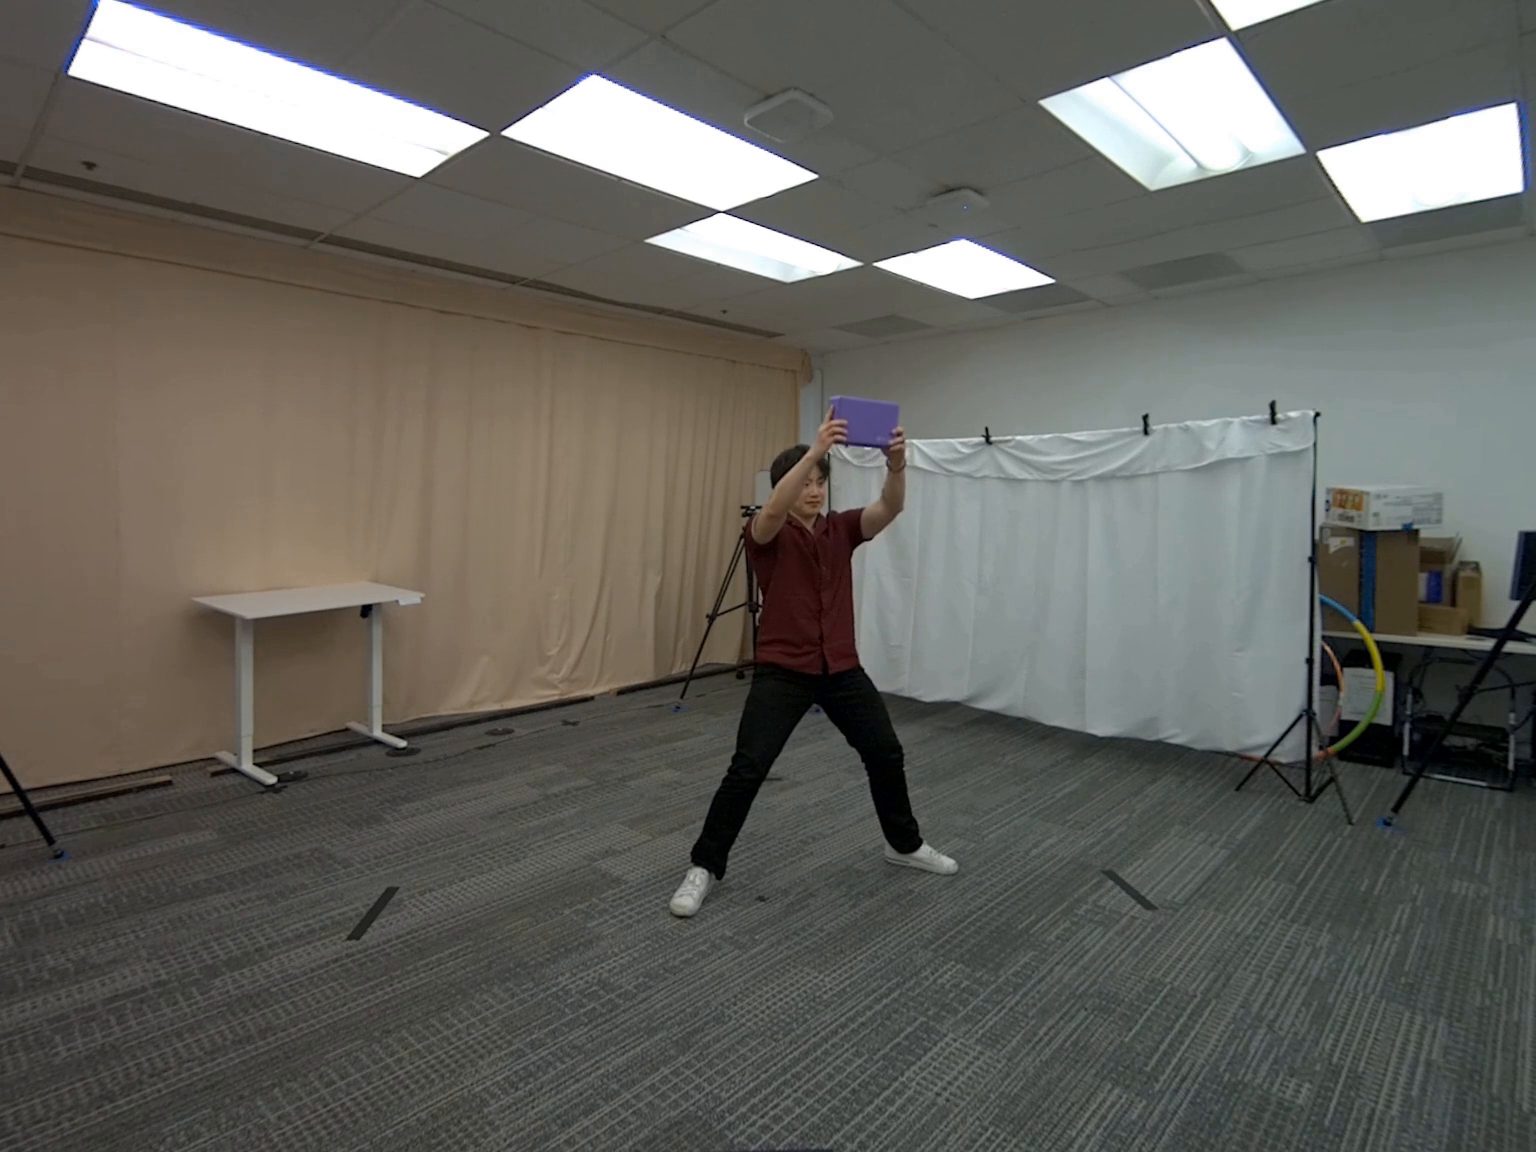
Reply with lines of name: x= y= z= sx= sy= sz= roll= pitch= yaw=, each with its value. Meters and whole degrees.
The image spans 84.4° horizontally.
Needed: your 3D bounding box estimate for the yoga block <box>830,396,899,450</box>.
yoga block: x=0.306 y=-0.484 z=2.699 sx=0.224 sy=0.148 sz=0.078 roll=2 pitch=6 yaw=-21
